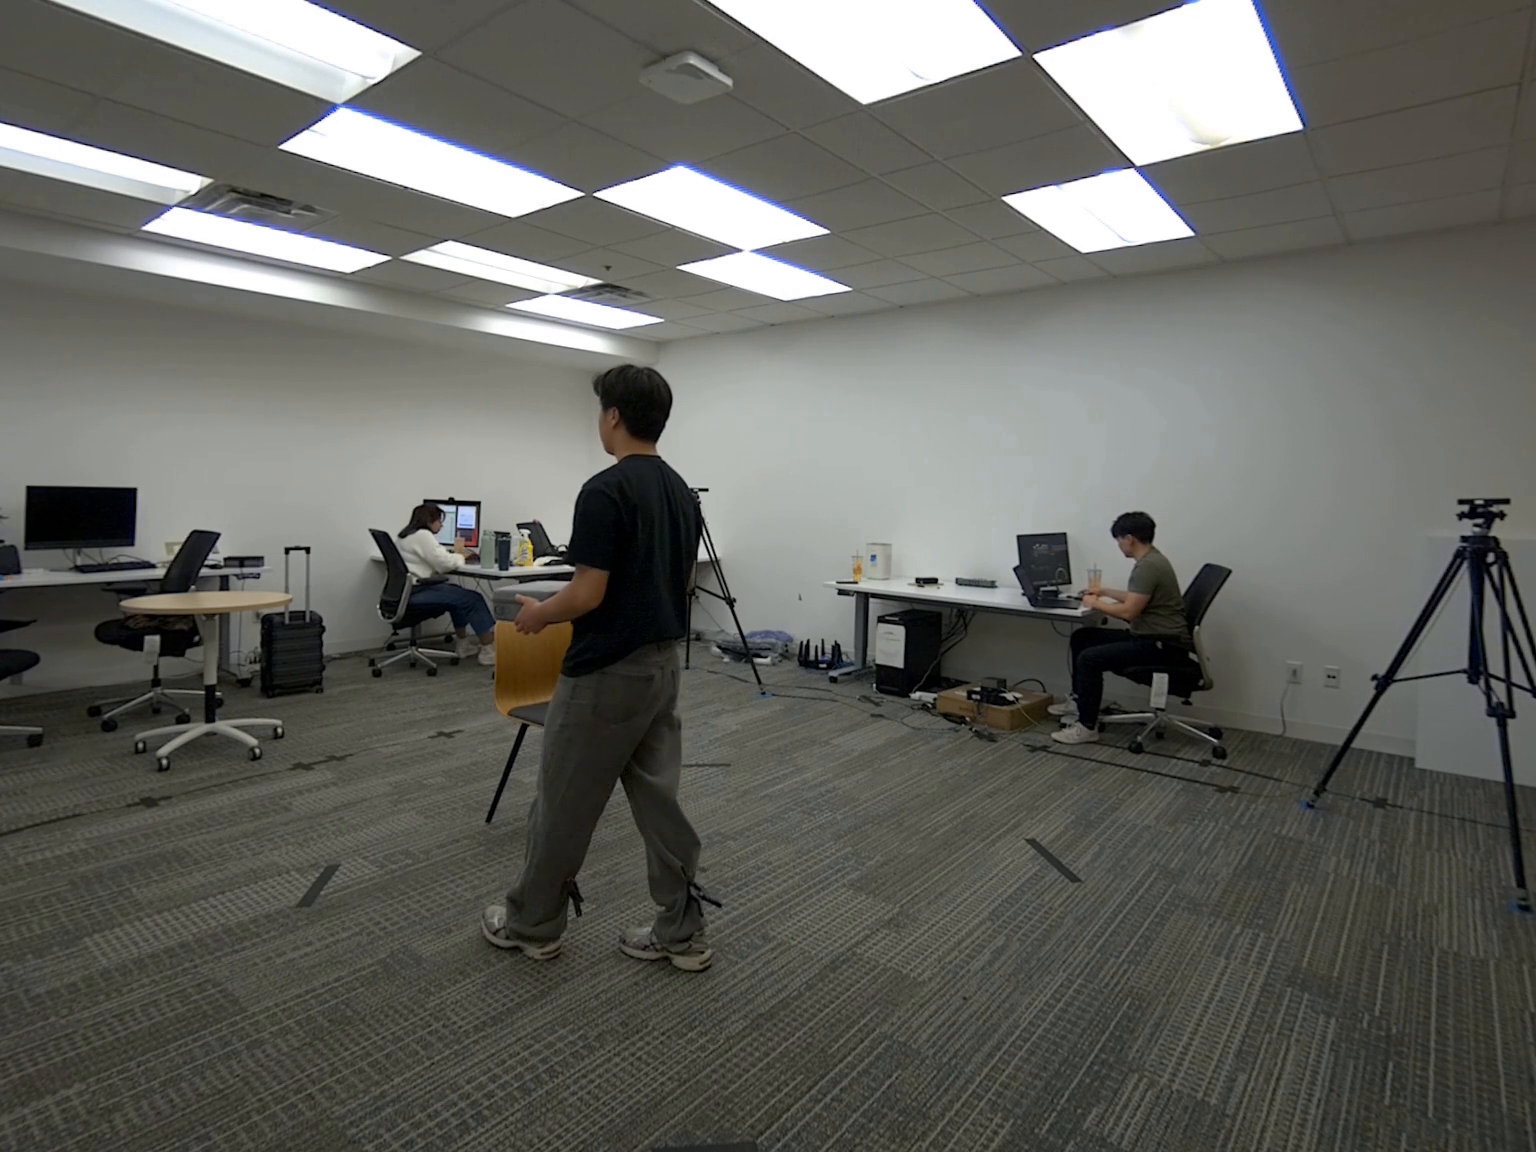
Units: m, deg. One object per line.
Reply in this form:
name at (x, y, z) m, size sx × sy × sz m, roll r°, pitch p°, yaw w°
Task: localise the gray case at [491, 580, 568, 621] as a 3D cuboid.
gray case at (-0.718, 0.077, 2.645) m, size 0.296 × 0.103 × 0.256 m, roll 2°, pitch 5°, yaw 35°
